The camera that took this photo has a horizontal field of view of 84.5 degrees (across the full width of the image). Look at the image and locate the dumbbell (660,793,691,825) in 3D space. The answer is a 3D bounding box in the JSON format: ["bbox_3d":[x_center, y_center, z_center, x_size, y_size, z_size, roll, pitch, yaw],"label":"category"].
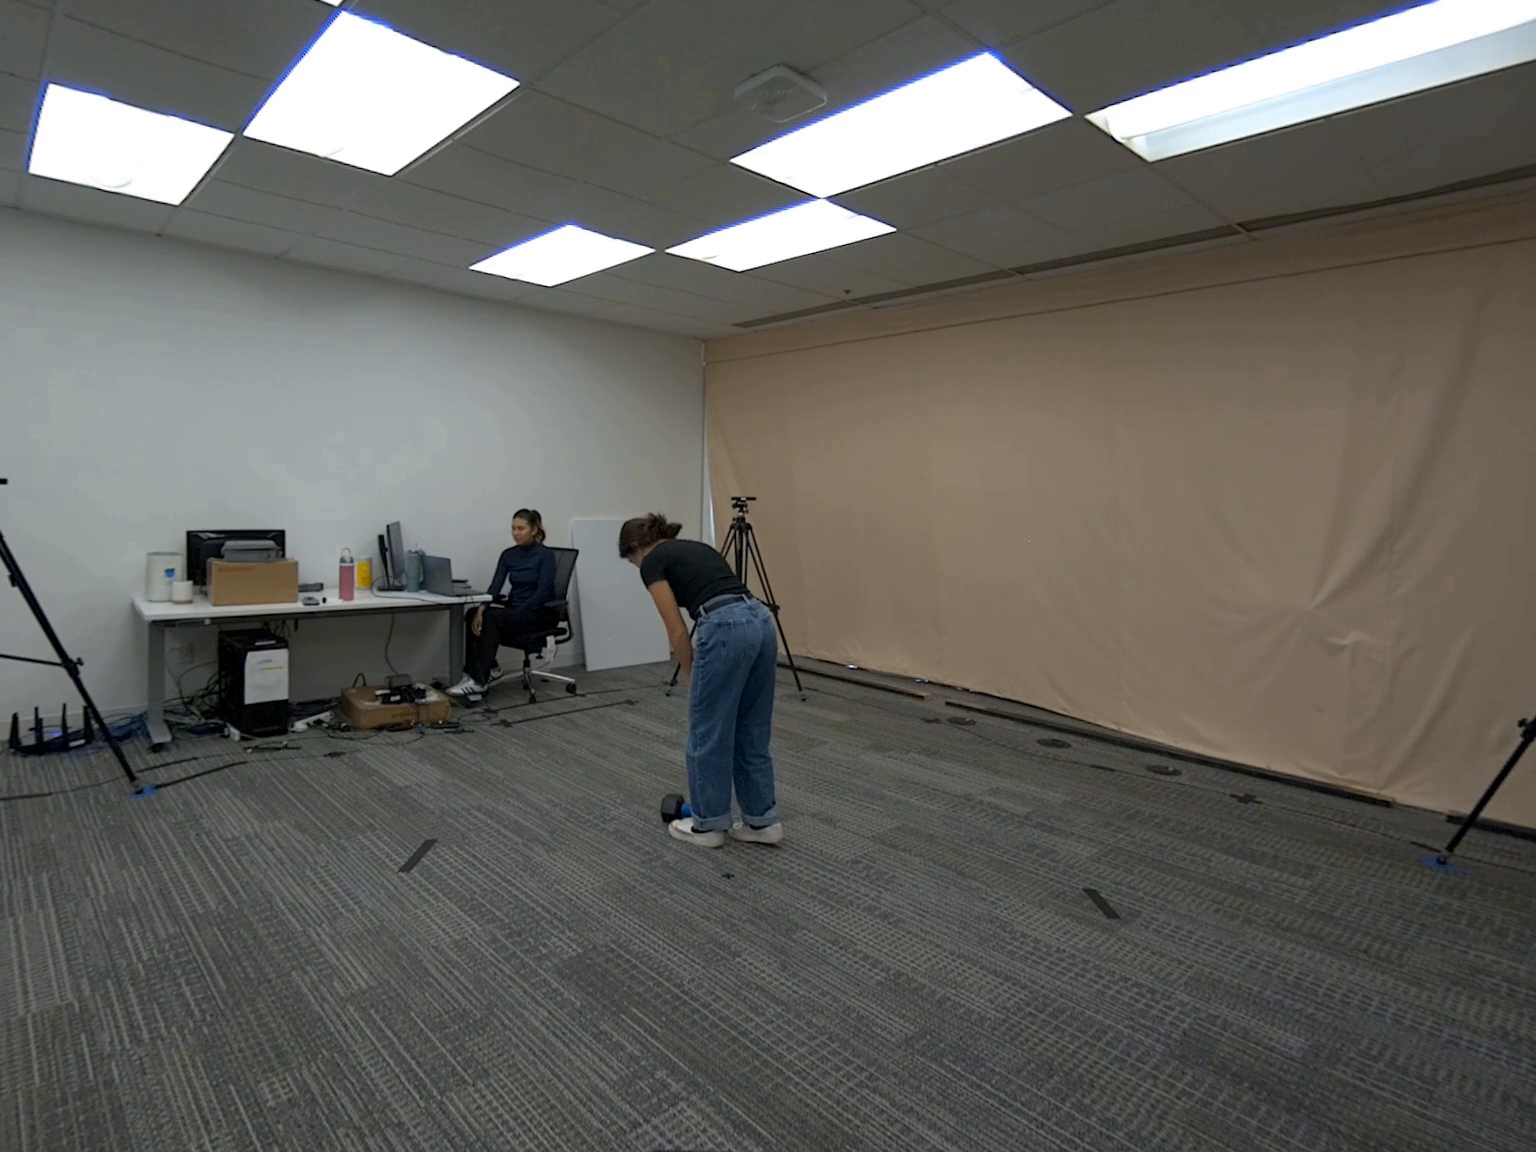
[{"bbox_3d":[-0.314,1.007,3.590,0.298,0.124,0.106,3,-25,17],"label":"dumbbell"}]
